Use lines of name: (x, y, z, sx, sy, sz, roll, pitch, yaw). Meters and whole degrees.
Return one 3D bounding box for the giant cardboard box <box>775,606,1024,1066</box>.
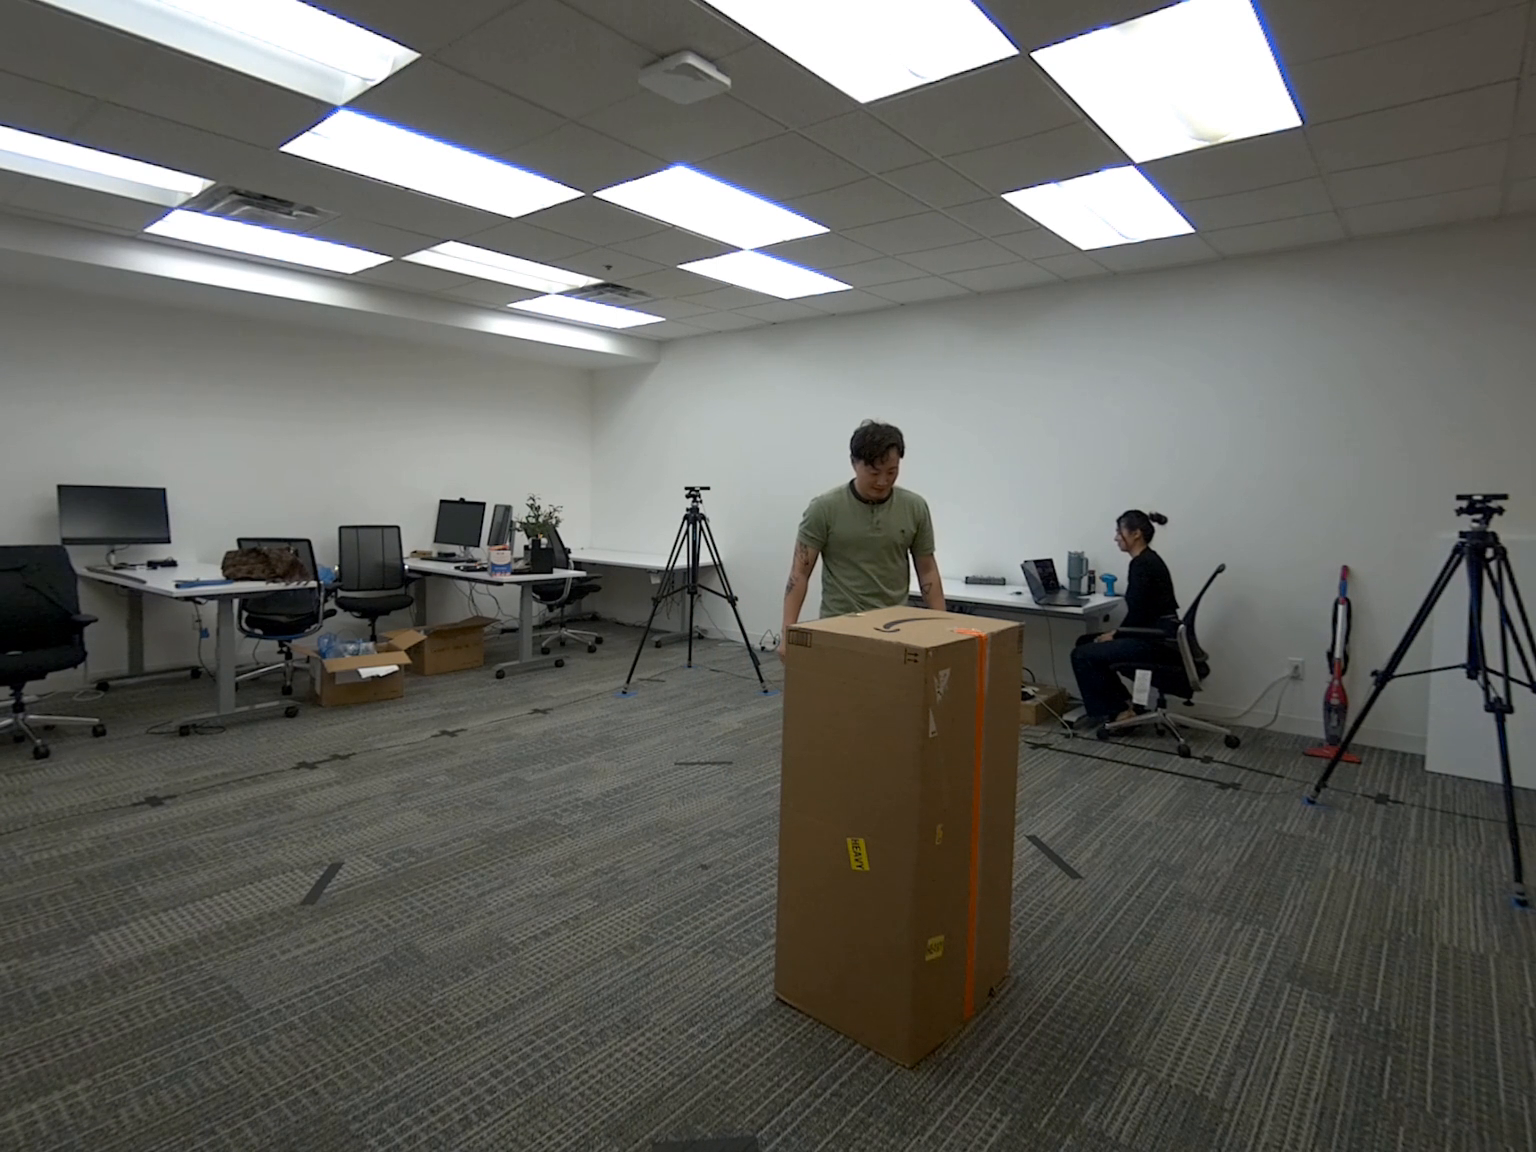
giant cardboard box: (0.368, 0.638, 2.365, 0.441, 1.023, 0.560, 4, 4, 41)
